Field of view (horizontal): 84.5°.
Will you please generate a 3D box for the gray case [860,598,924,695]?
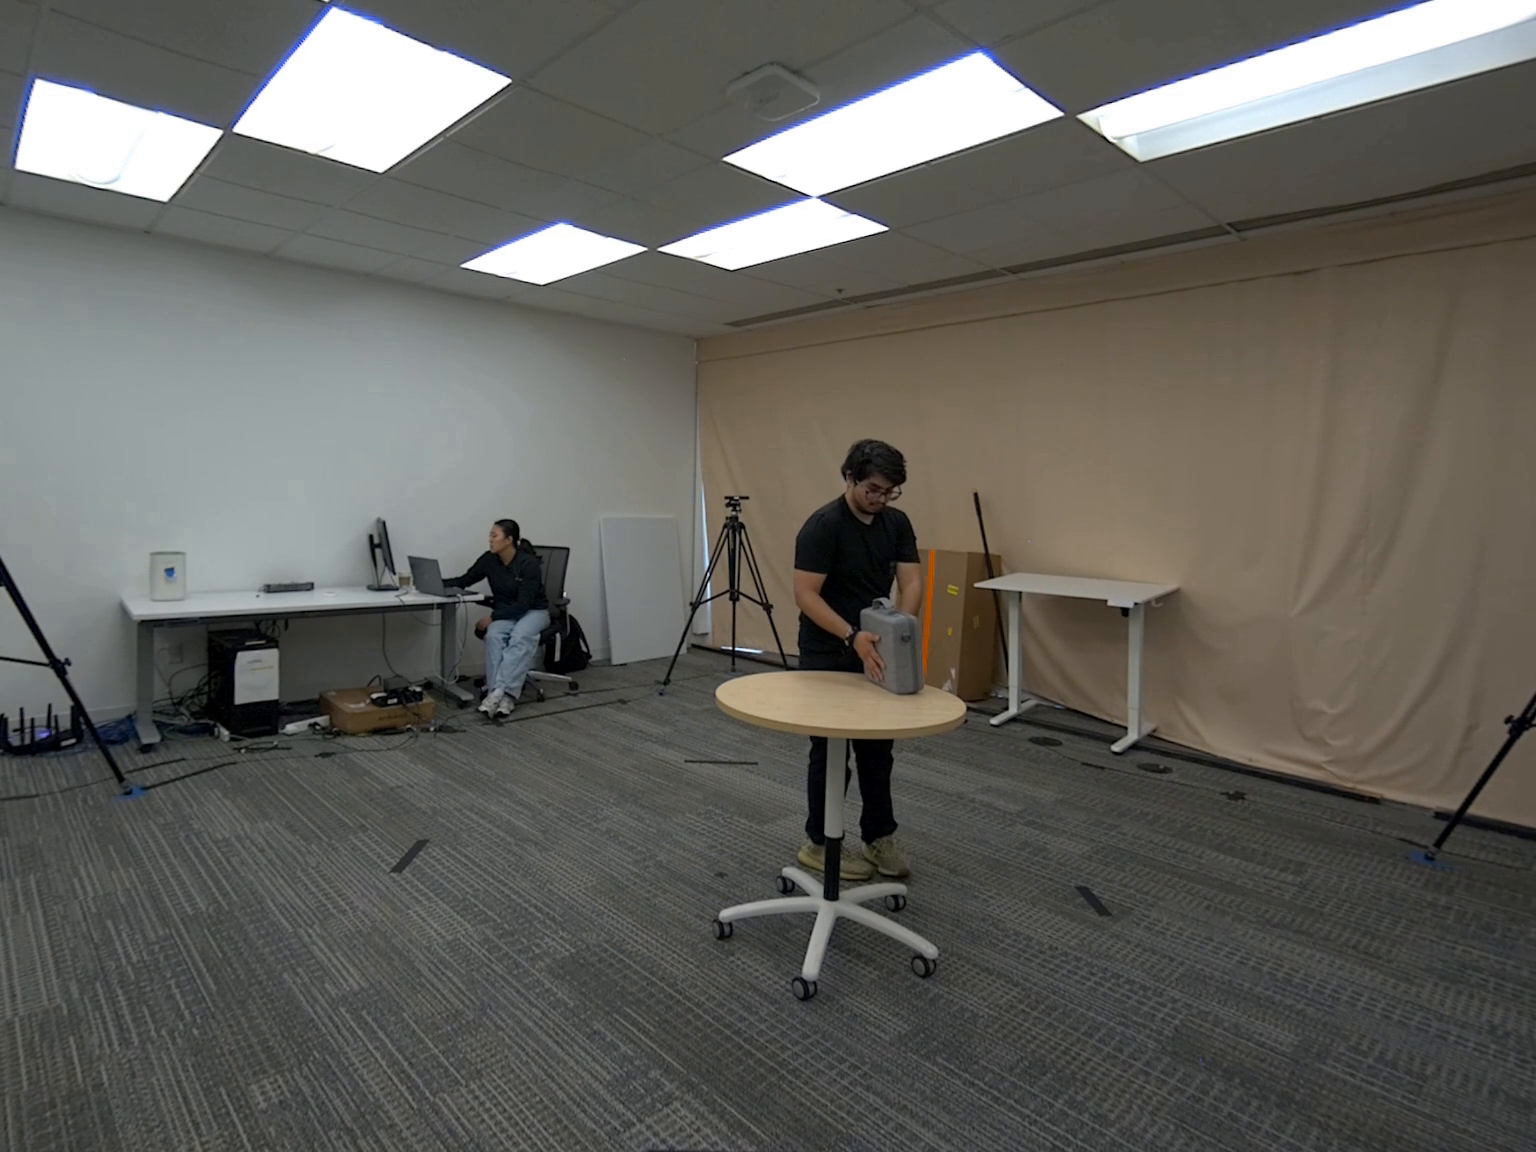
[{"bbox_3d":[0.391,0.234,2.752,0.103,0.259,0.261,-5,7,-17],"label":"gray case"}]
